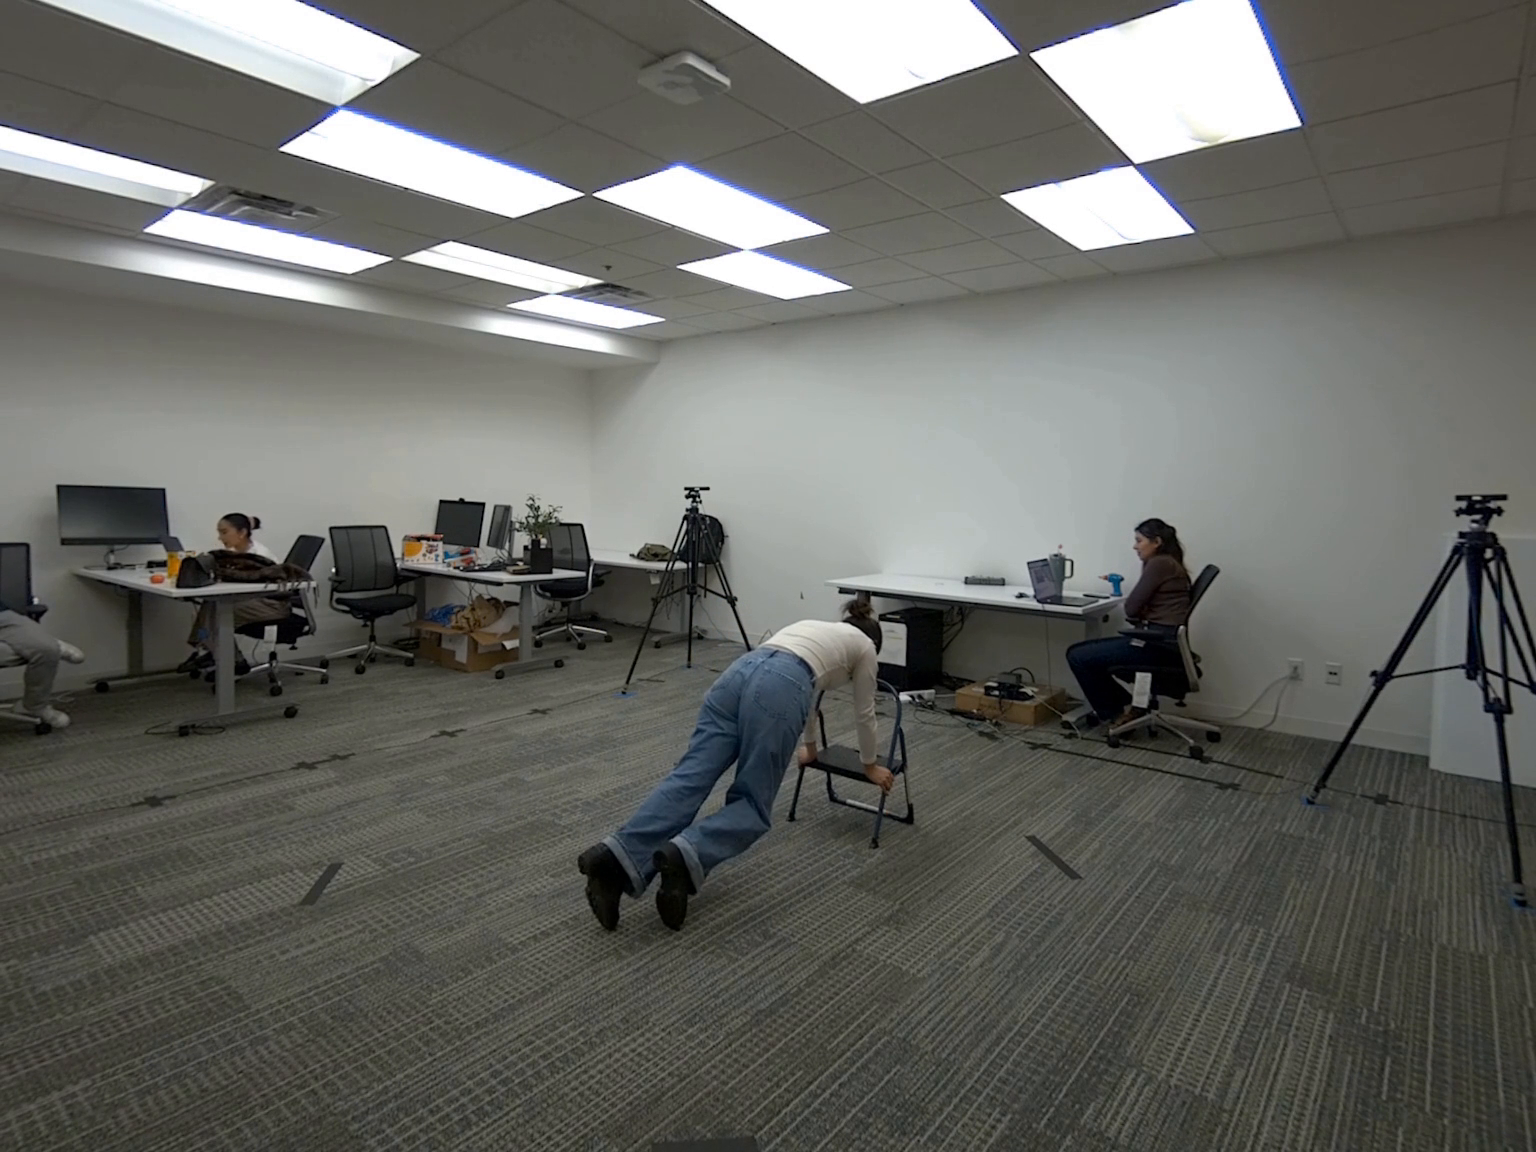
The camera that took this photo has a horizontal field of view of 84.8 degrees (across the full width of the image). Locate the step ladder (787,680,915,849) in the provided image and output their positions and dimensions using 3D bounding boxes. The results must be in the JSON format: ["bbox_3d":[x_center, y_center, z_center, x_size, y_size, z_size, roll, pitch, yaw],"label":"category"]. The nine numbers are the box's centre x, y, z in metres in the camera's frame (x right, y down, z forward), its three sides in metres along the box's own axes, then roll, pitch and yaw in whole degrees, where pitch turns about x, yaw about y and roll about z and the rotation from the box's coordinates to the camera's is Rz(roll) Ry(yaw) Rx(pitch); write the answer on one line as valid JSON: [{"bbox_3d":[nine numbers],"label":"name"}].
[{"bbox_3d":[0.351,0.729,3.562,0.445,0.604,0.339,4,4,38],"label":"step ladder"}]
